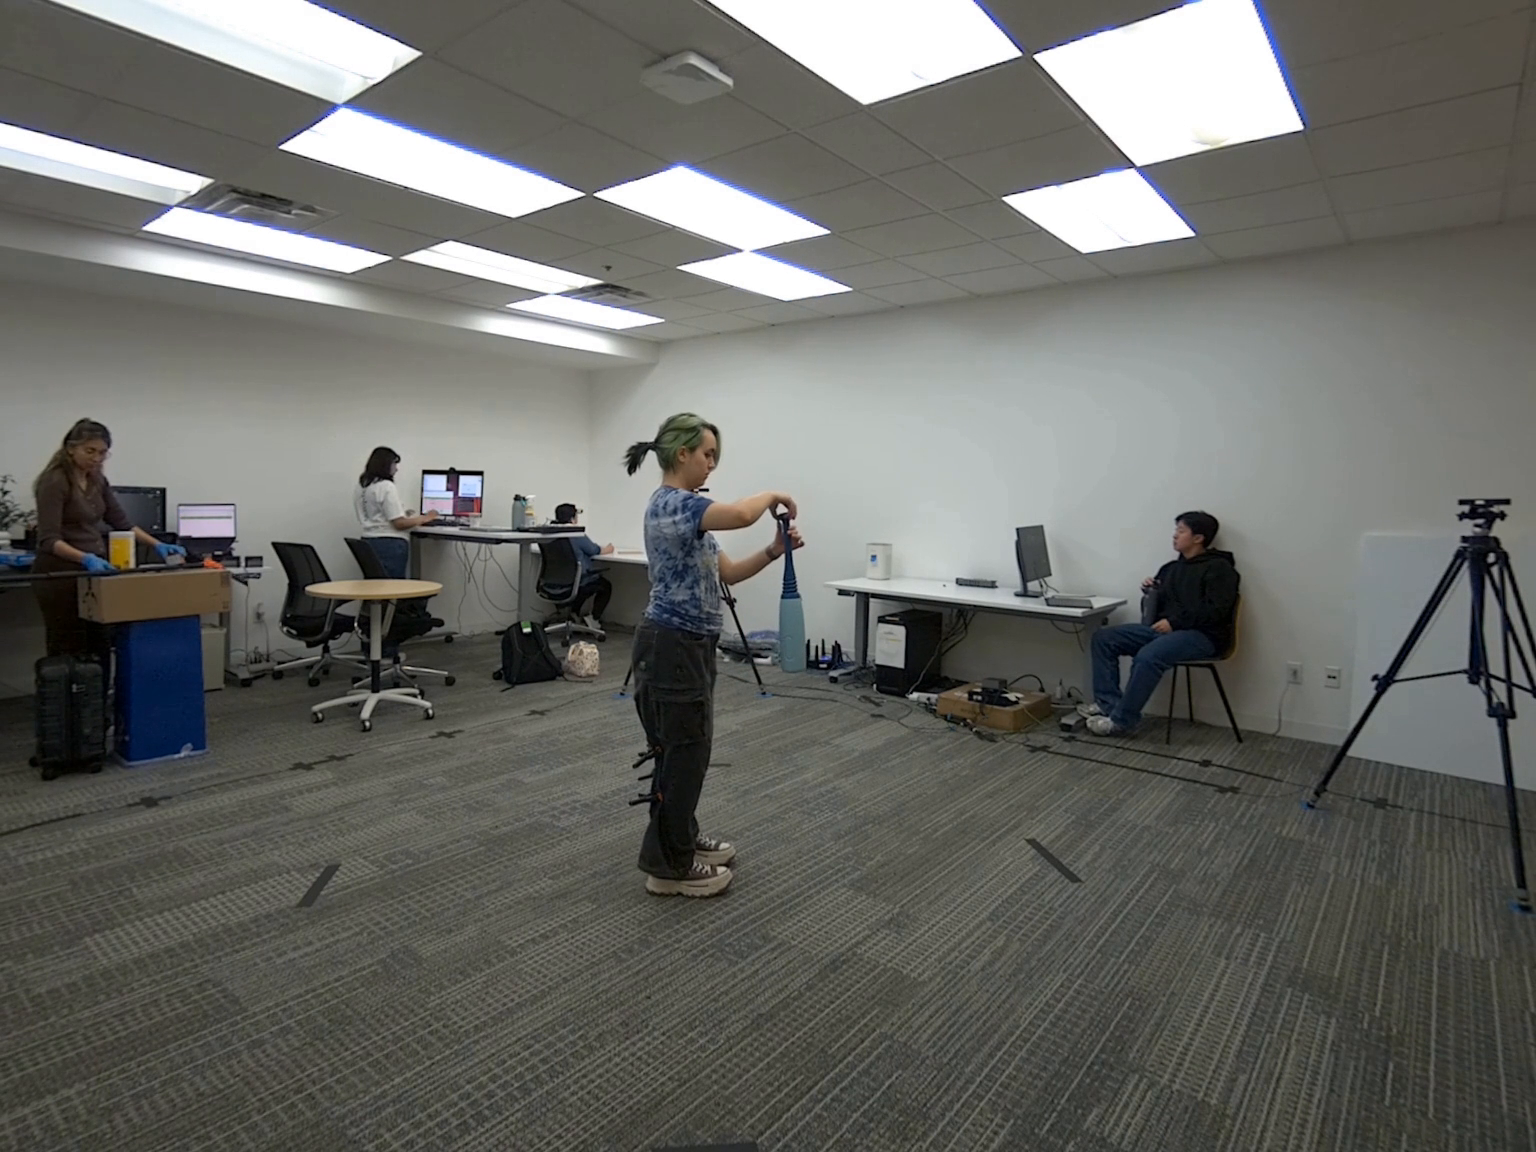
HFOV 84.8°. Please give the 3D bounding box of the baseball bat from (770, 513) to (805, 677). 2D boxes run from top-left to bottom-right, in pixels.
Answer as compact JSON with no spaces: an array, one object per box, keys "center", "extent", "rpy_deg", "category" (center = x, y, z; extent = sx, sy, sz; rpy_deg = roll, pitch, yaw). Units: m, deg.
[{"center":[0.065,0.060,2.865],"extent":[0.089,0.544,0.089],"rpy_deg":[-2,-1,-2],"category":"baseball bat"}]
